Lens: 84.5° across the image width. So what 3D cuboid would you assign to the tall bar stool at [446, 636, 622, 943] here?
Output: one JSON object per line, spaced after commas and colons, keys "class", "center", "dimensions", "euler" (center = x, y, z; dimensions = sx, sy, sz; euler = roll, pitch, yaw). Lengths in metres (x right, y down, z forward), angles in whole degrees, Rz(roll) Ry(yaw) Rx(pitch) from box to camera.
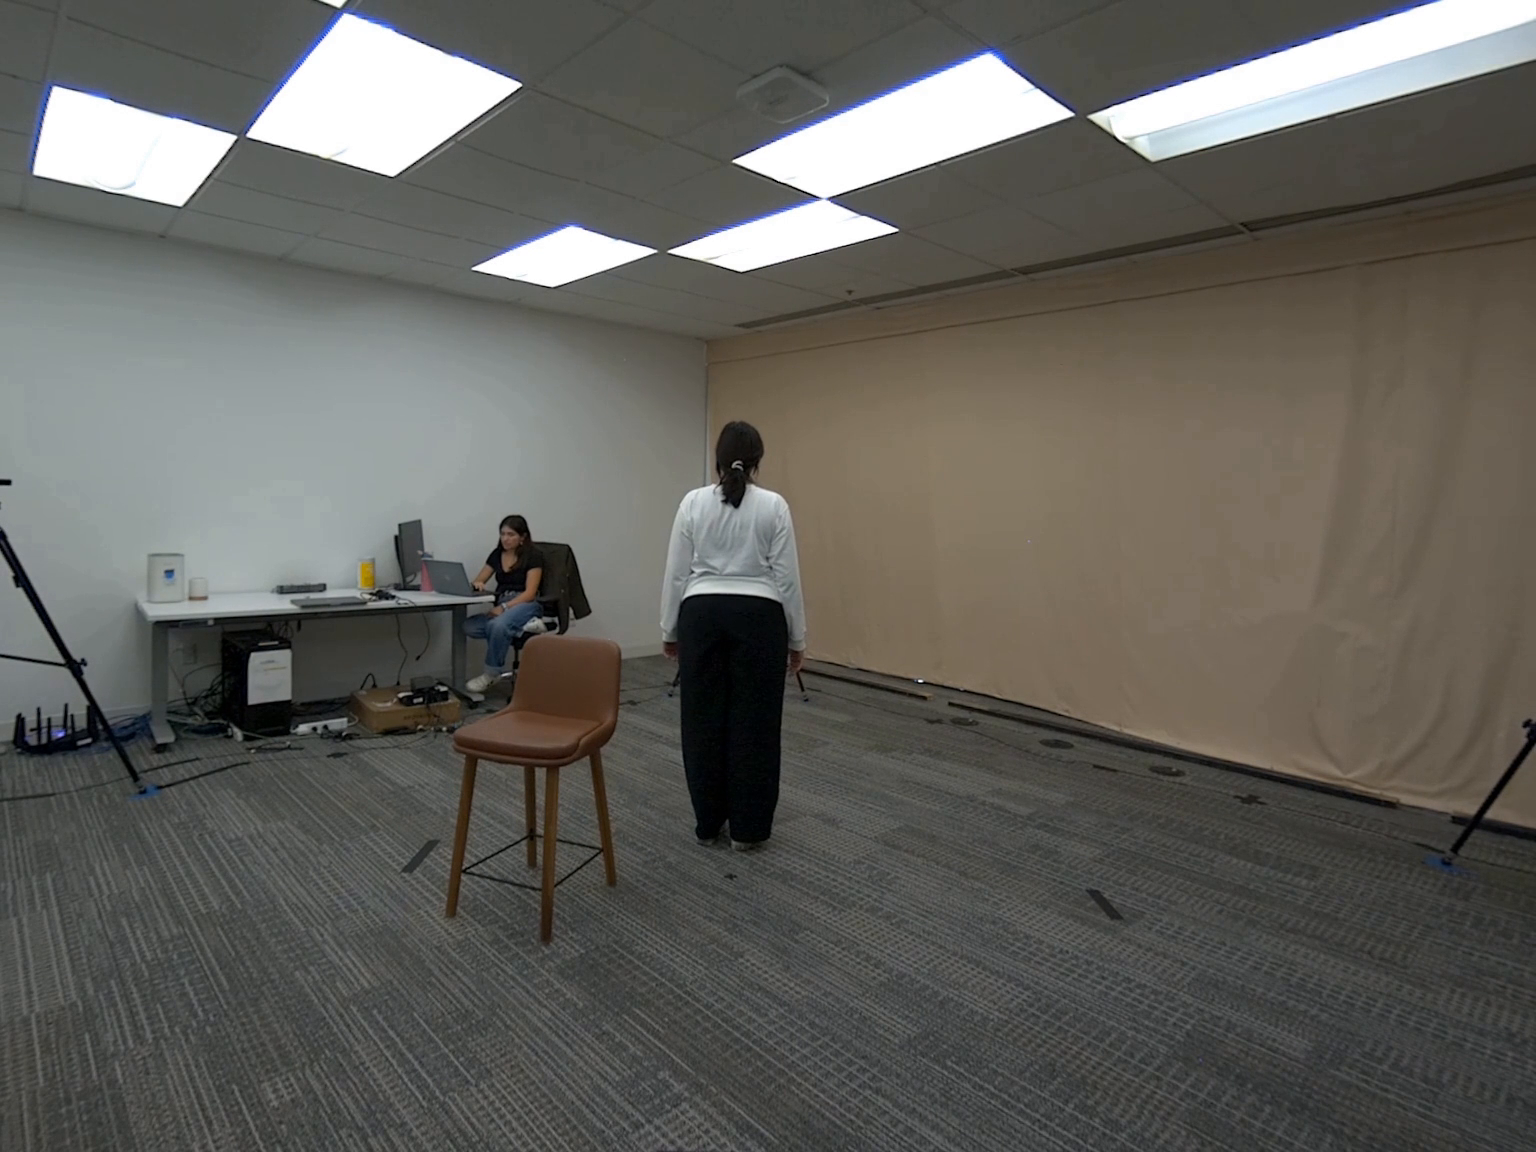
{"class": "tall bar stool", "center": [-0.786, 0.682, 2.865], "dimensions": [0.465, 0.888, 0.459], "euler": [3, 2, 24]}
